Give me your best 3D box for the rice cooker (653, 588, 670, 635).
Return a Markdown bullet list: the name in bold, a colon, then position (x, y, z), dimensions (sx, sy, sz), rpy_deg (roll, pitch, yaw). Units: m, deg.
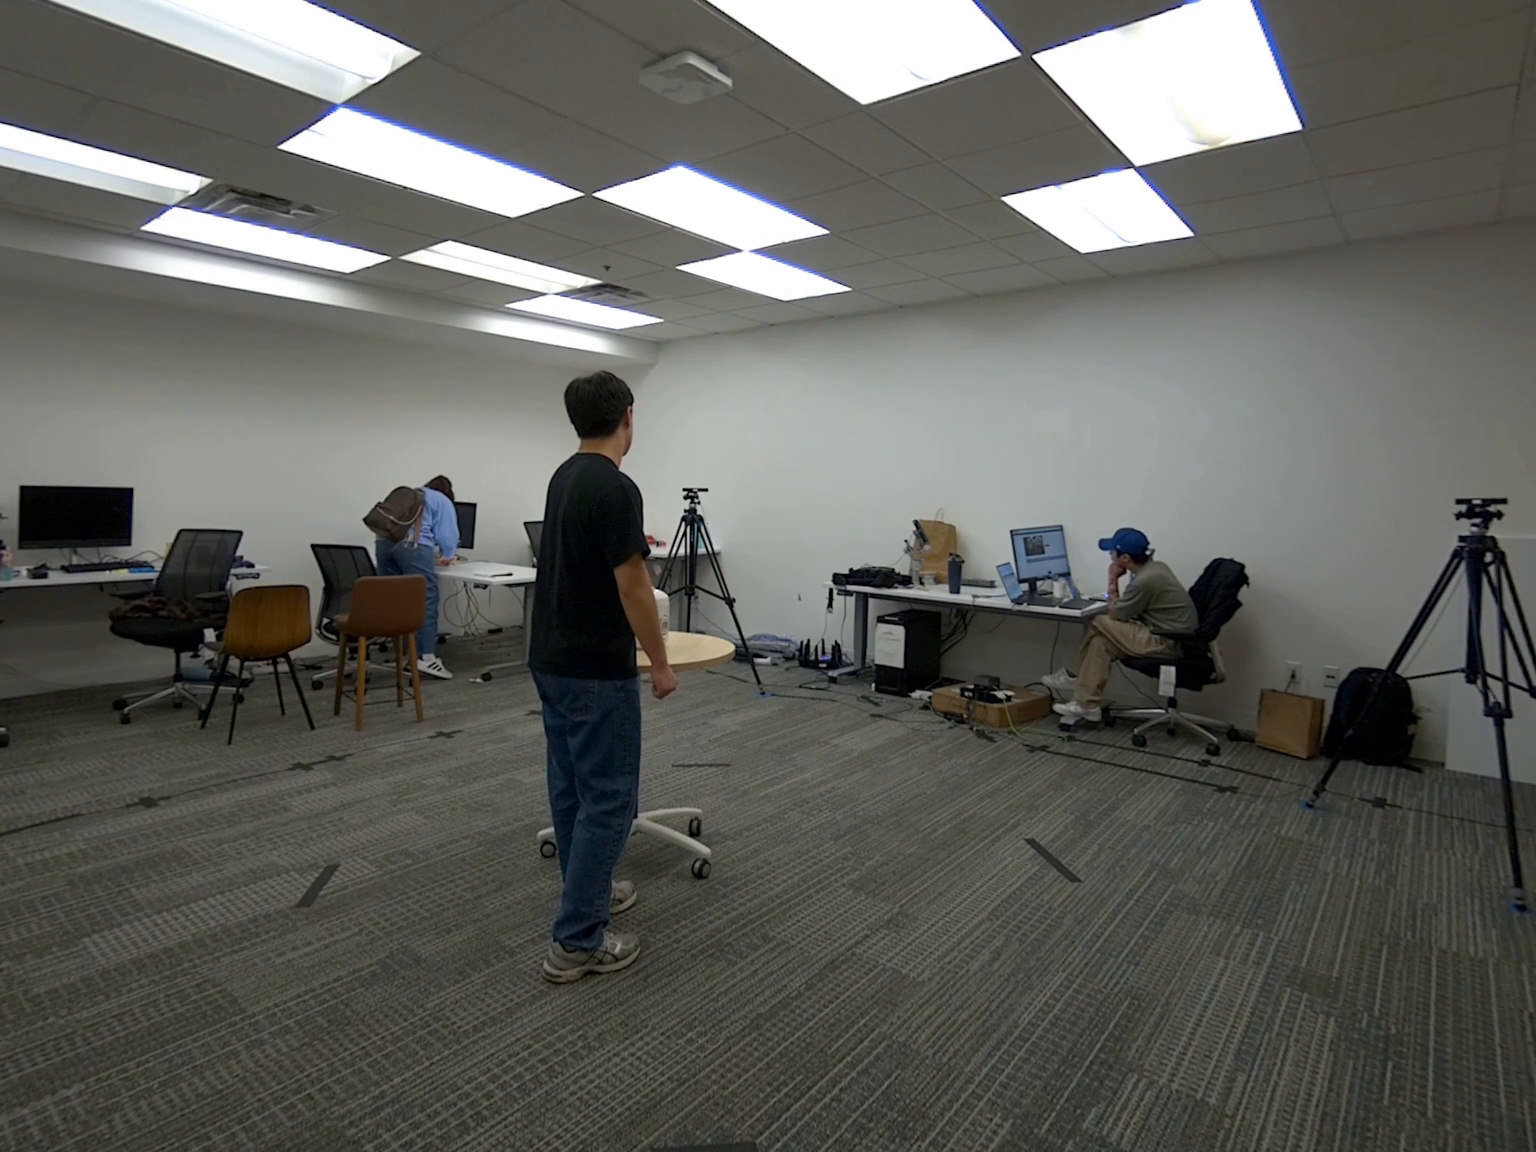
- **rice cooker**: position (-0.480, 0.143, 3.194), dimensions (0.223, 0.232, 0.215), rpy_deg (1, 4, 30)
